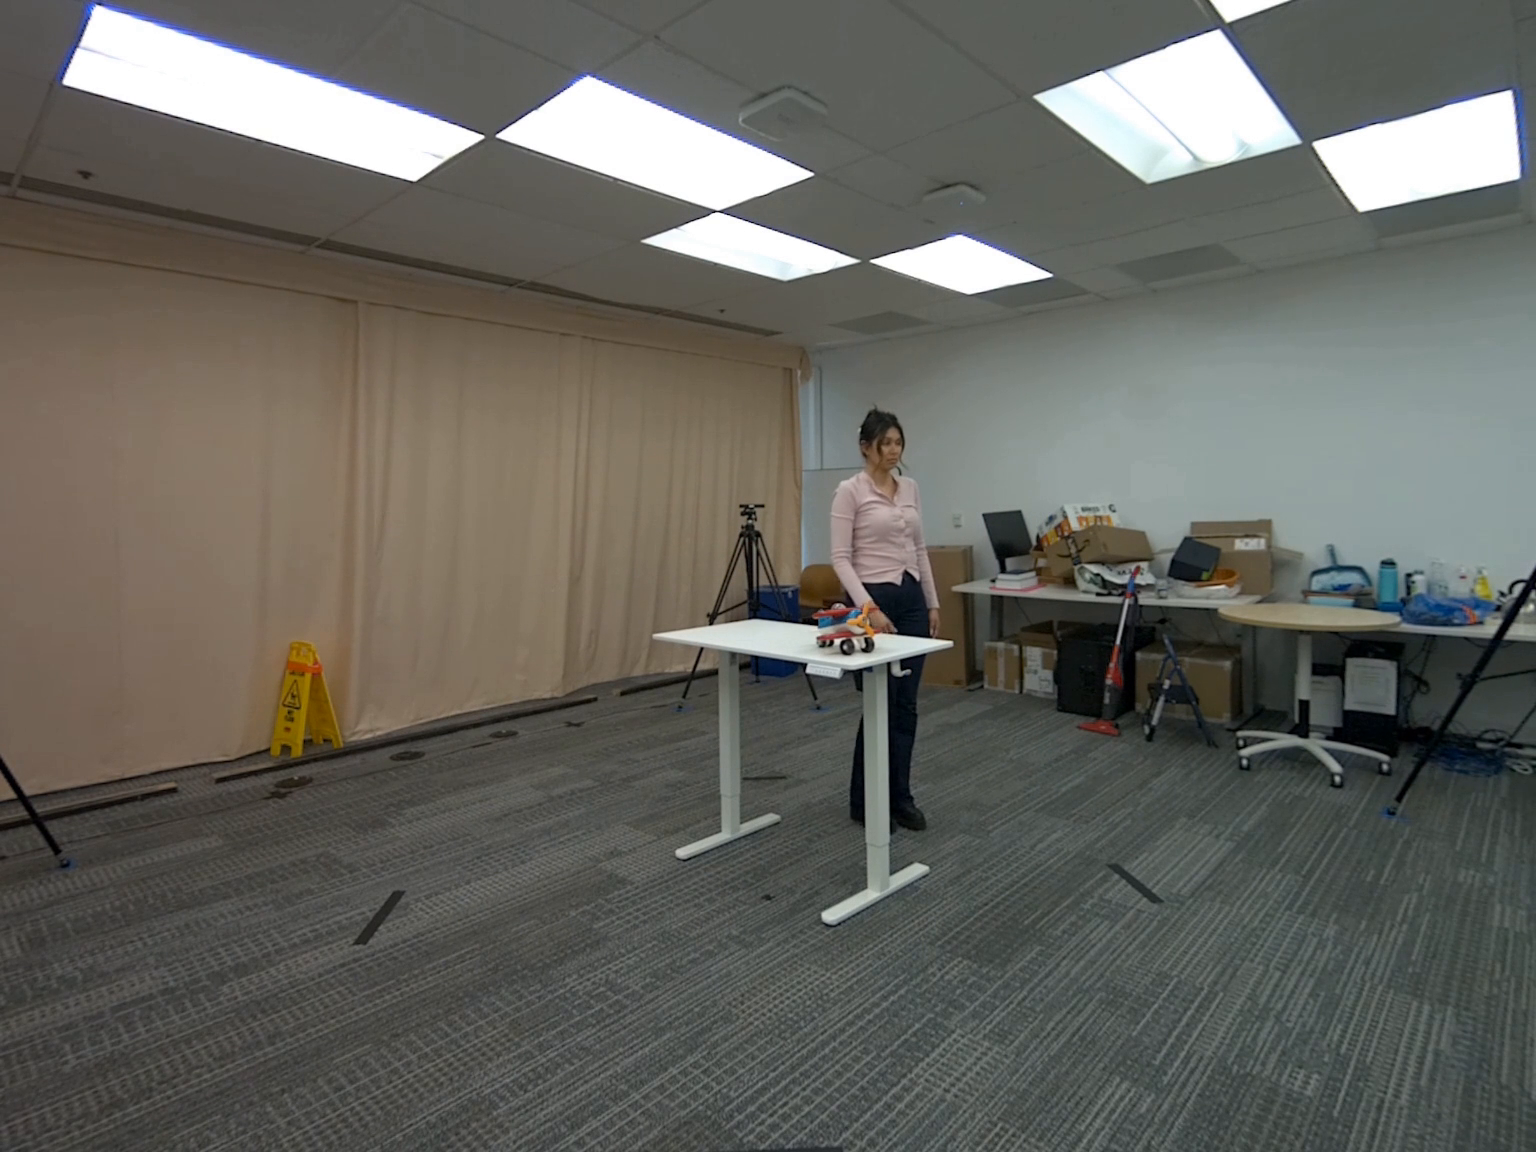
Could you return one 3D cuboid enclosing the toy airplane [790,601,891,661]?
[{"bbox_3d":[0.249,0.180,2.892,0.267,0.156,0.244,2,4,31],"label":"toy airplane"}]
